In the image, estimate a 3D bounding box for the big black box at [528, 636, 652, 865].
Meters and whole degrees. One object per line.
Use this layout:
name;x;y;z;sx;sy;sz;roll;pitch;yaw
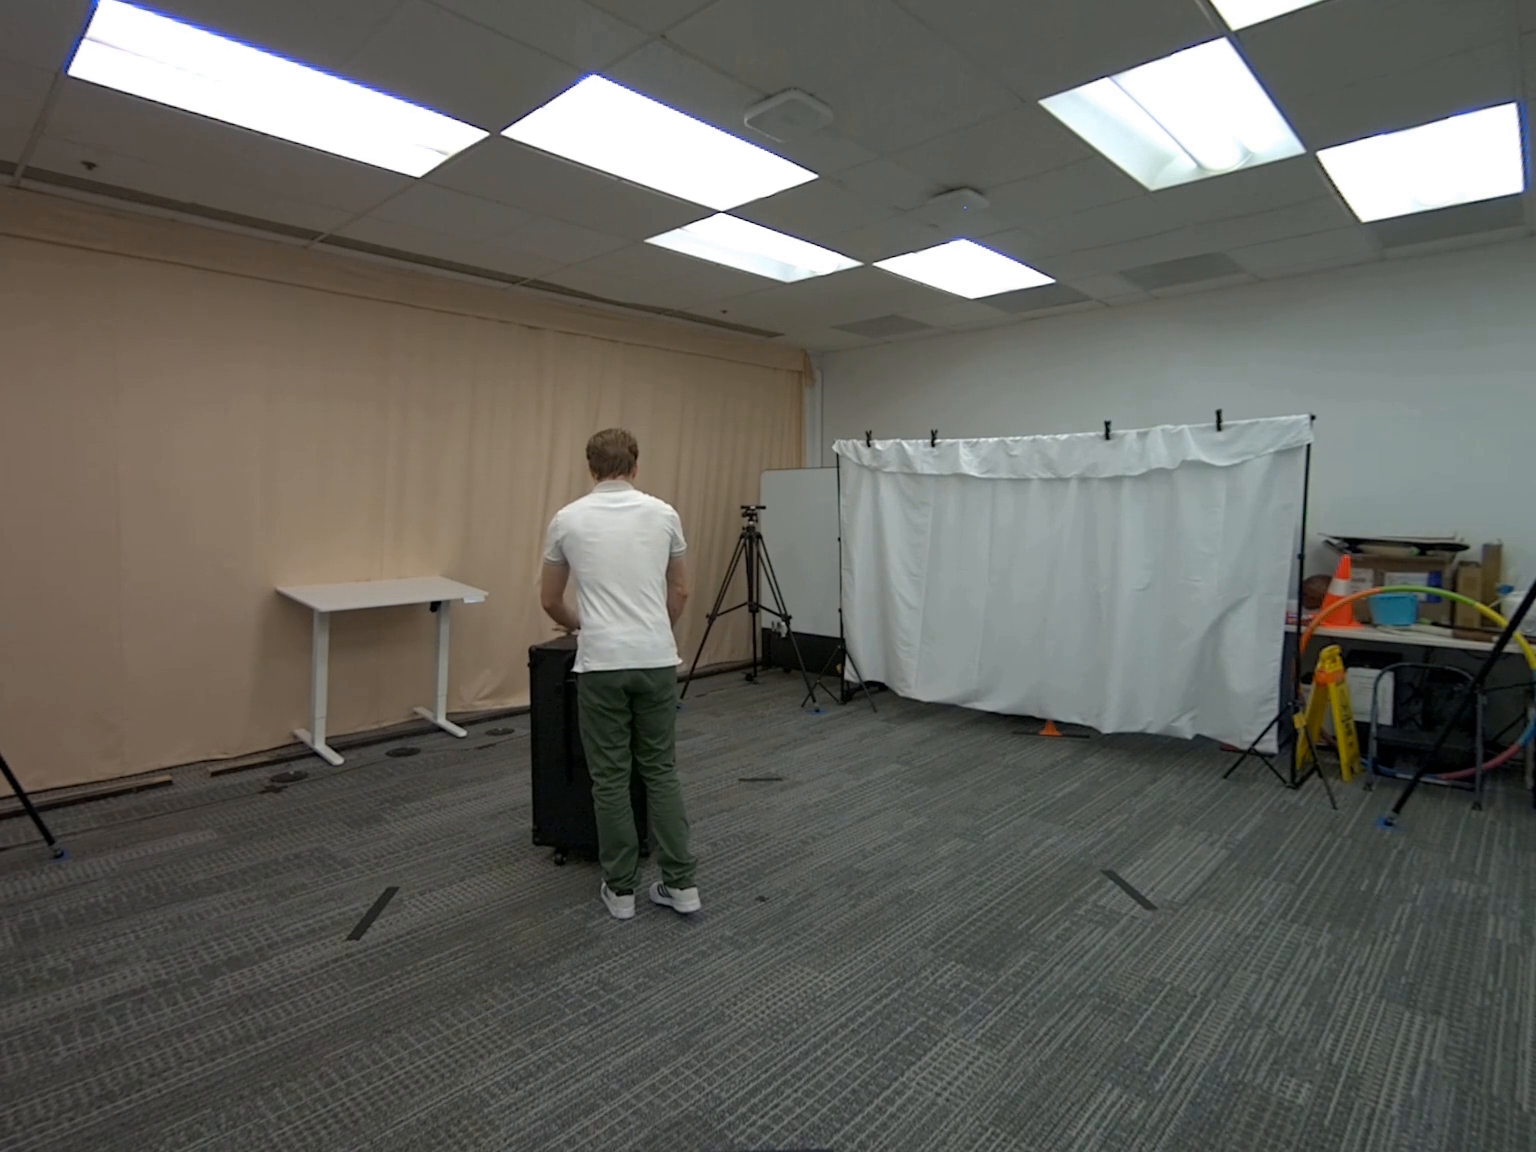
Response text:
big black box;-0.655;0.692;3.381;0.531;0.867;0.380;0;3;13
